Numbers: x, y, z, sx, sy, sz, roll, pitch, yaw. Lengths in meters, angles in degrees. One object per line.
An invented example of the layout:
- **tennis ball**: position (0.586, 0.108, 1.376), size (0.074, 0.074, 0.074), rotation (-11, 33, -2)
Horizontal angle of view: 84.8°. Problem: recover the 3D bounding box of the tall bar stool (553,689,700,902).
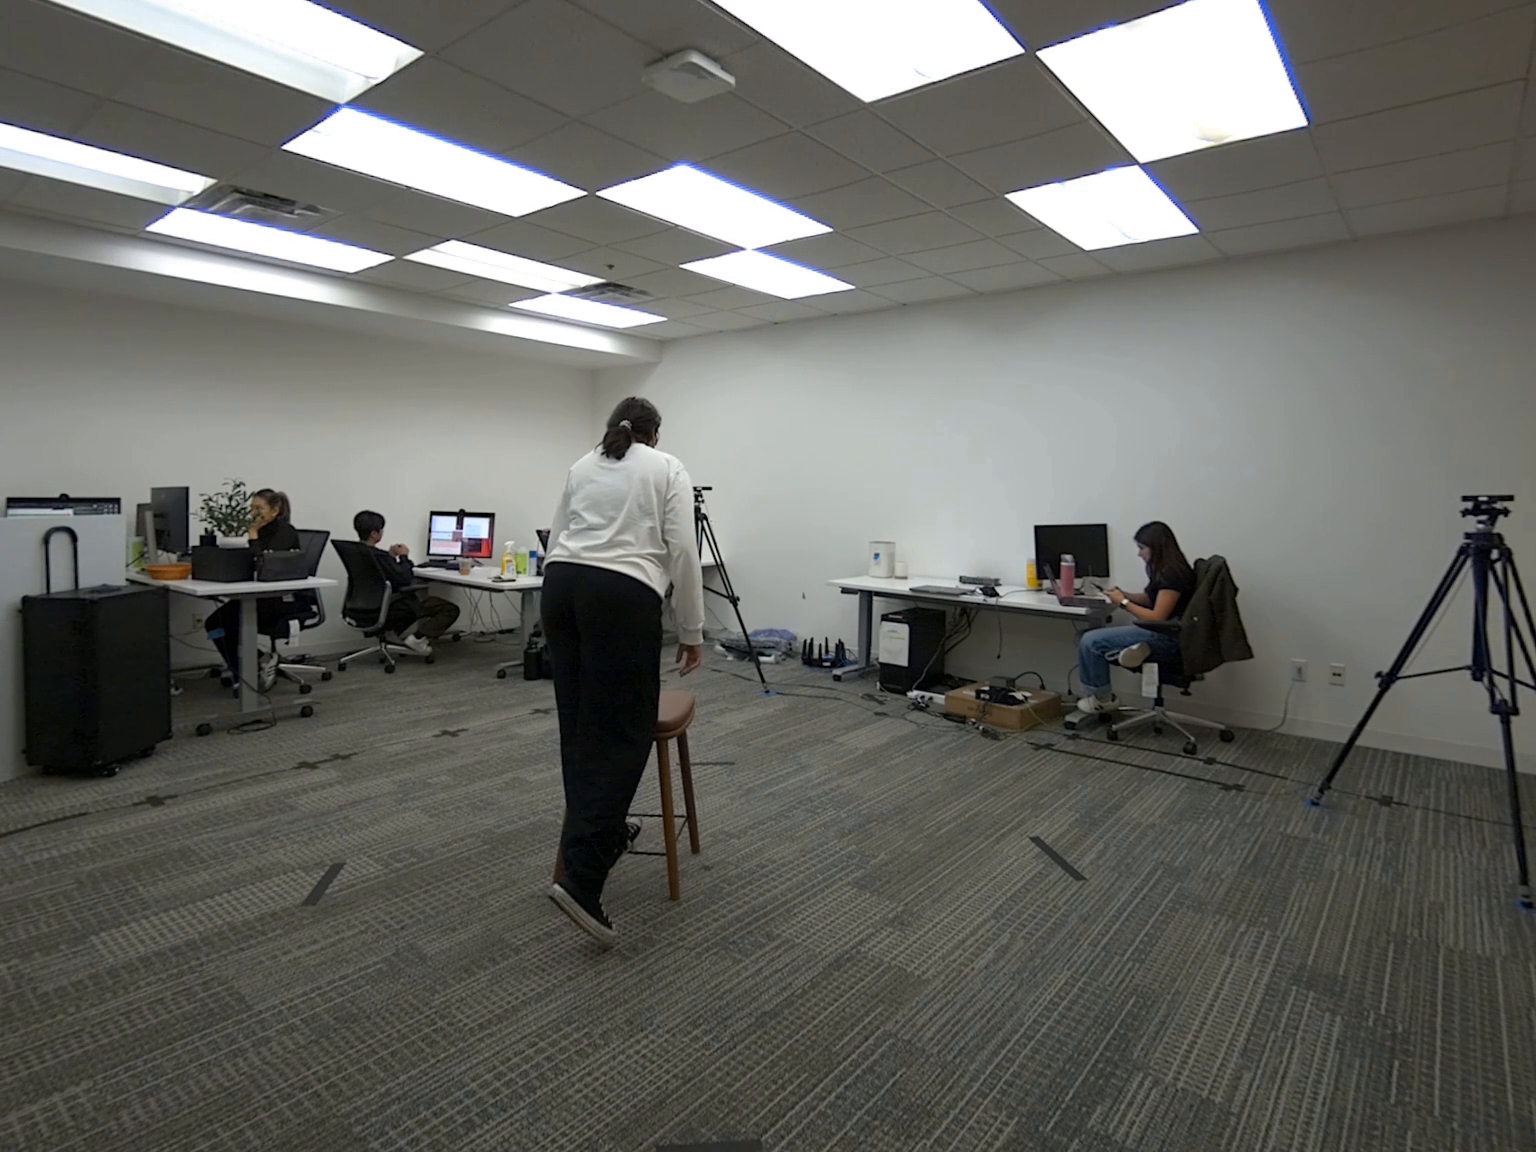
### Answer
- **tall bar stool**: position (-0.503, 0.625, 3.071), size (0.472, 0.887, 0.453), rotation (-1, 3, 9)
